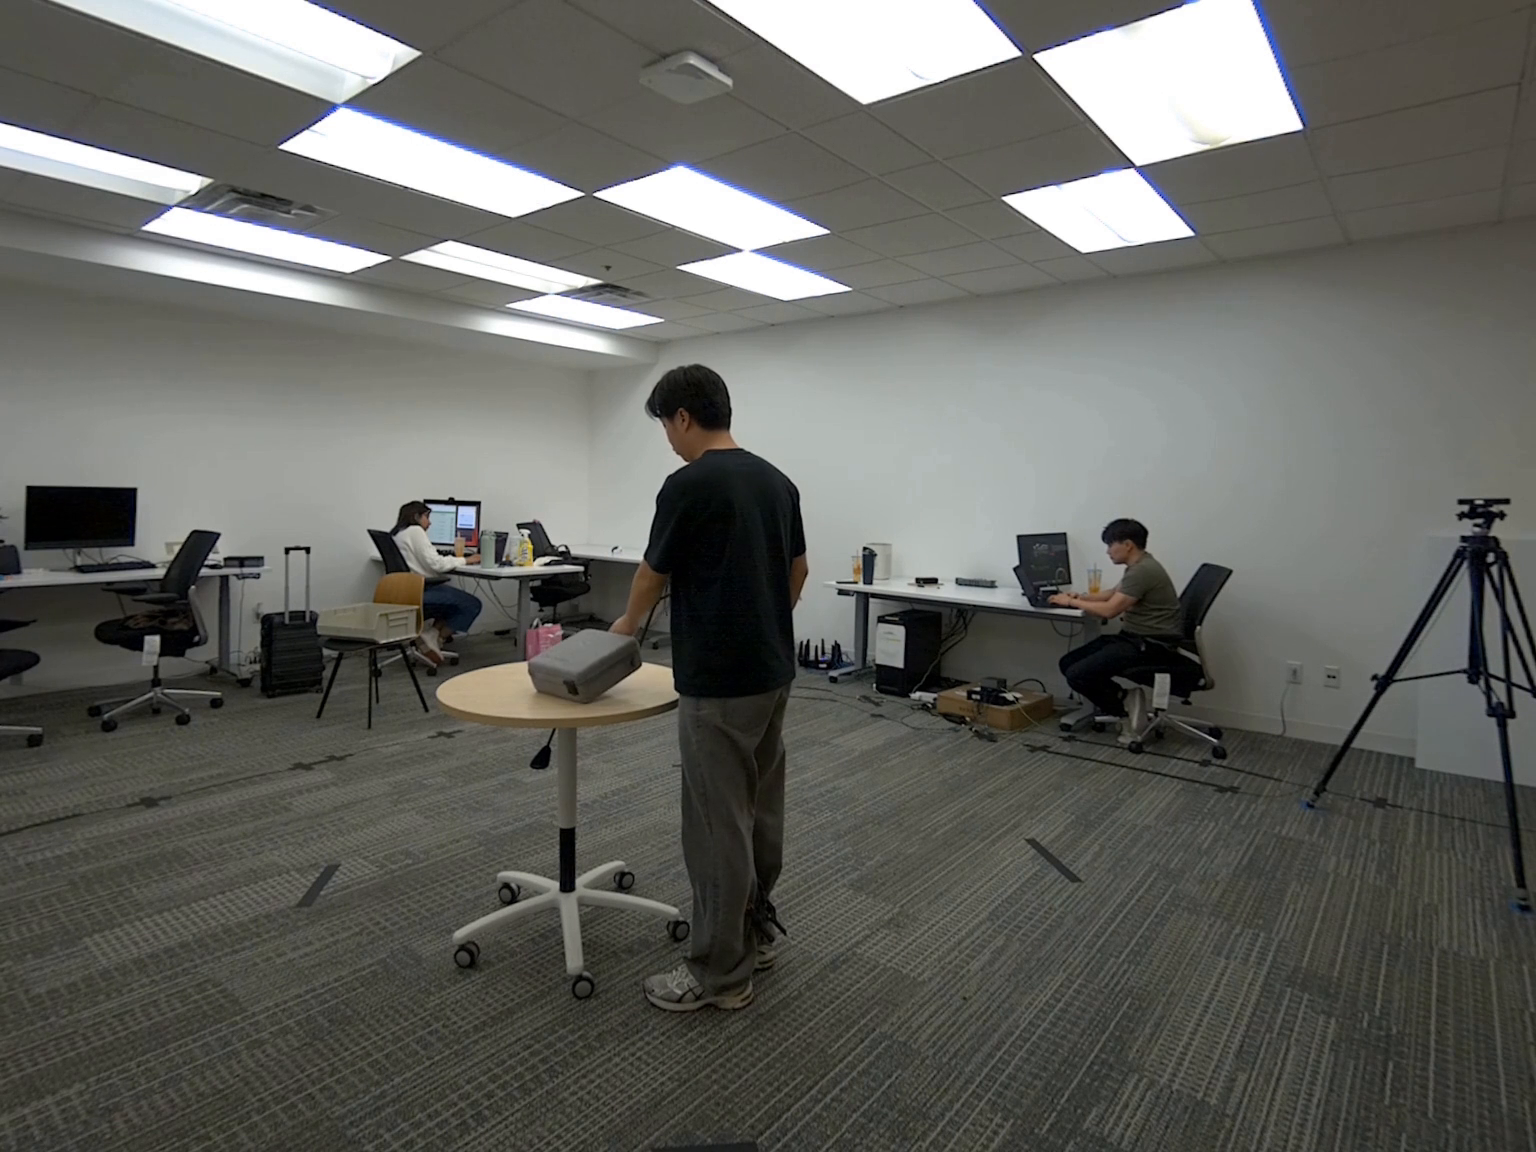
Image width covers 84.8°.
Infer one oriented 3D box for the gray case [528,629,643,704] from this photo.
[{"bbox_3d":[-0.545,0.254,2.515,0.272,0.101,0.283,5,25,40],"label":"gray case"}]
